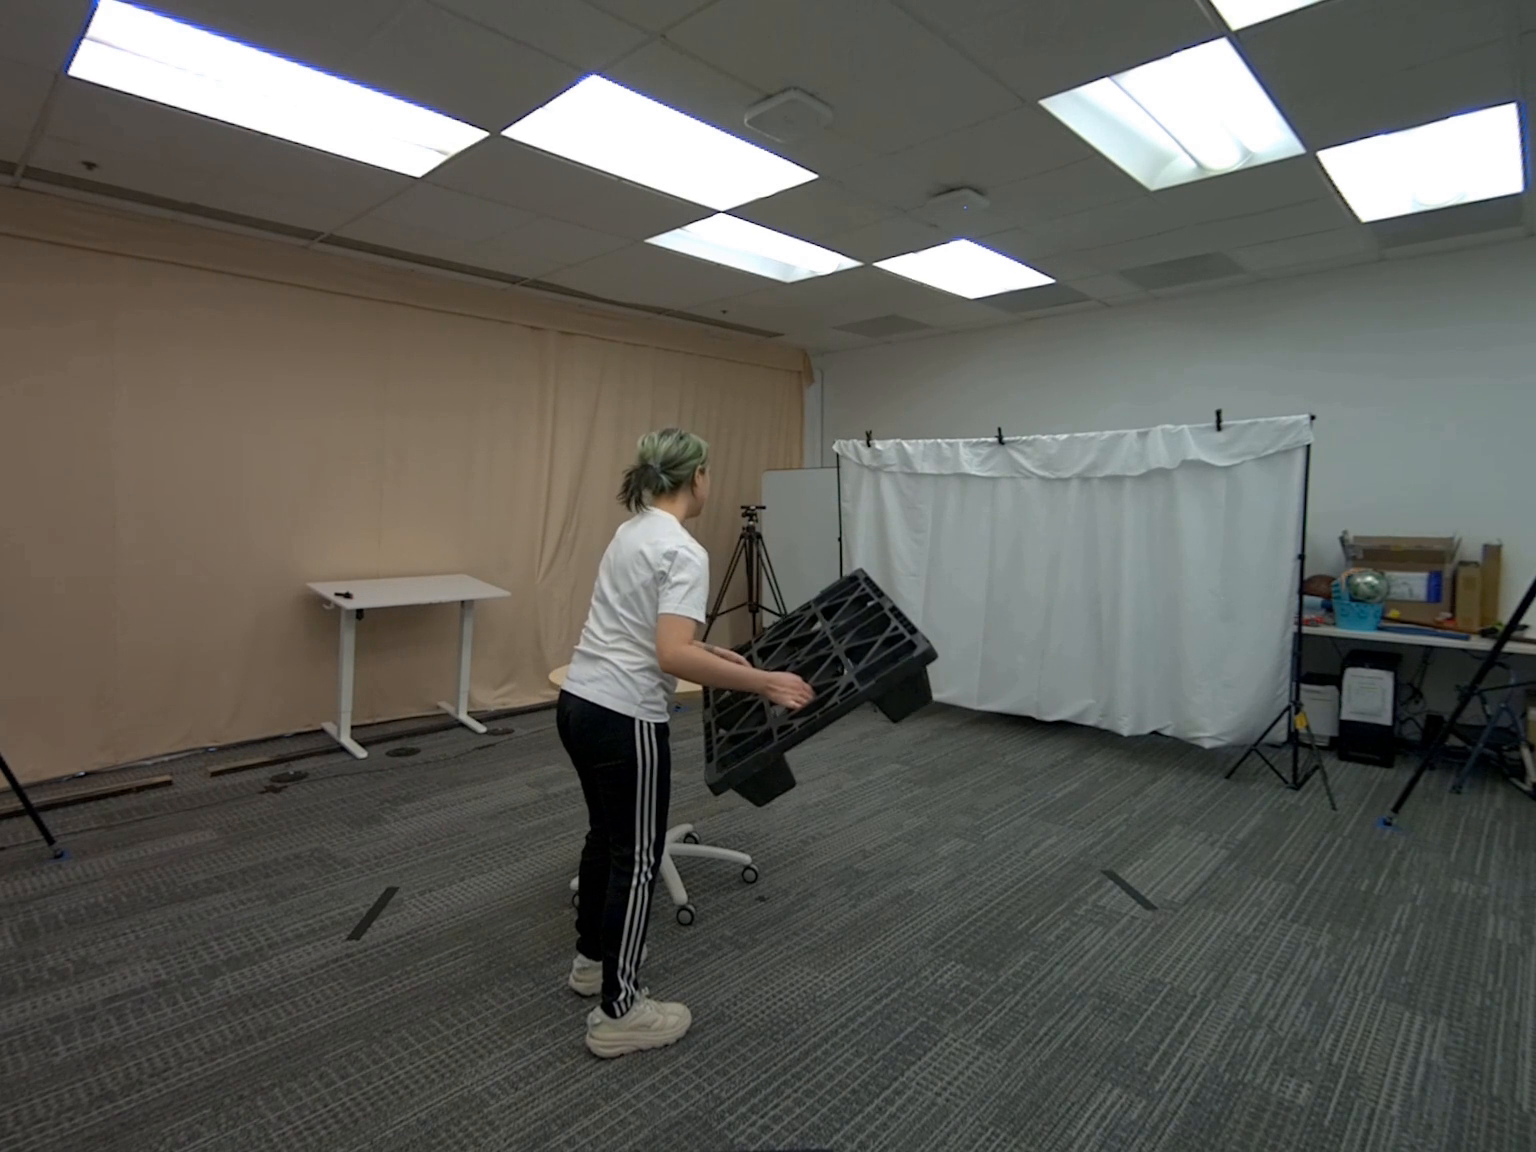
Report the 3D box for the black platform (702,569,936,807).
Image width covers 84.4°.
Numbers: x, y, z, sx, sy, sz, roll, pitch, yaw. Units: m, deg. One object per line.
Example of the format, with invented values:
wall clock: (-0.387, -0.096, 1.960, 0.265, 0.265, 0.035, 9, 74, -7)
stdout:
black platform: (0.104, 0.278, 2.263, 0.606, 0.141, 0.814, -34, 13, 3)
